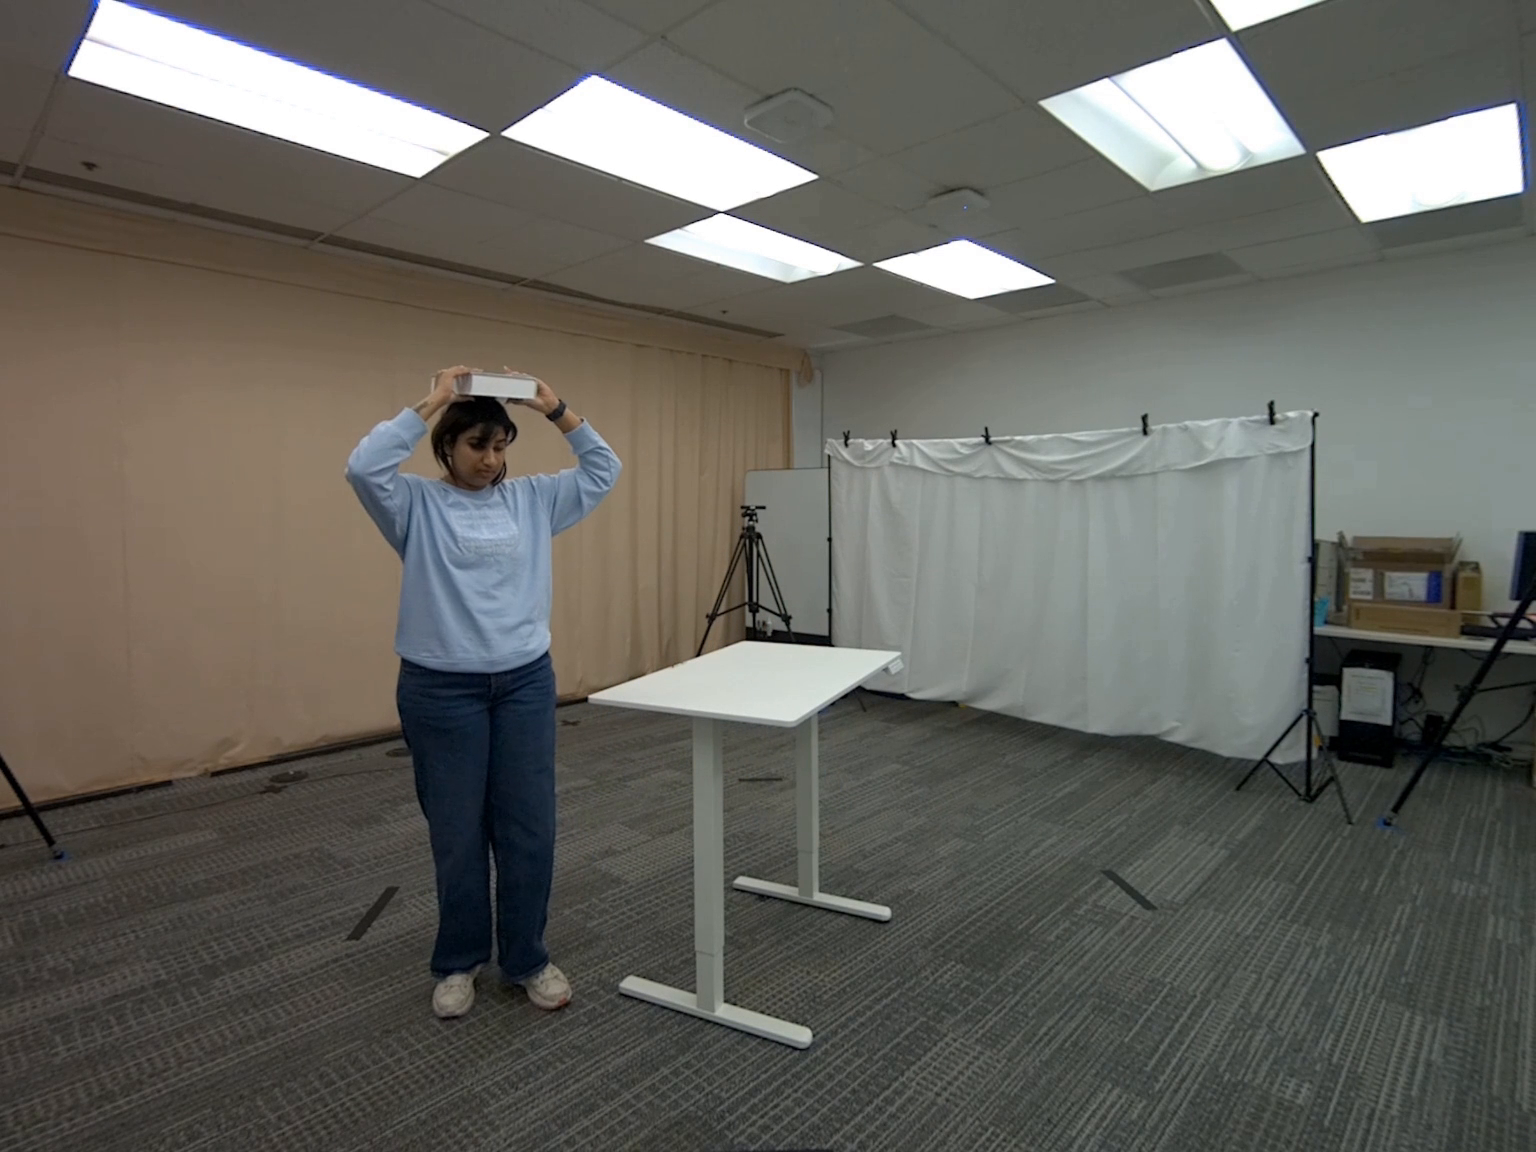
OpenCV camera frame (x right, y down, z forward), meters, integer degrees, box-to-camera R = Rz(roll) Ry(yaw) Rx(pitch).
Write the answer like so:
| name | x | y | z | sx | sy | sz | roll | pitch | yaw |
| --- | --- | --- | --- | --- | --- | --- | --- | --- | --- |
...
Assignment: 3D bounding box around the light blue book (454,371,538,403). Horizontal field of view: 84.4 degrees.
| name | x | y | z | sx | sy | sz | roll | pitch | yaw |
| --- | --- | --- | --- | --- | --- | --- | --- | --- | --- |
| light blue book | -0.776 | -0.510 | 2.258 | 0.185 | 0.059 | 0.270 | -5 | 11 | -40 |
